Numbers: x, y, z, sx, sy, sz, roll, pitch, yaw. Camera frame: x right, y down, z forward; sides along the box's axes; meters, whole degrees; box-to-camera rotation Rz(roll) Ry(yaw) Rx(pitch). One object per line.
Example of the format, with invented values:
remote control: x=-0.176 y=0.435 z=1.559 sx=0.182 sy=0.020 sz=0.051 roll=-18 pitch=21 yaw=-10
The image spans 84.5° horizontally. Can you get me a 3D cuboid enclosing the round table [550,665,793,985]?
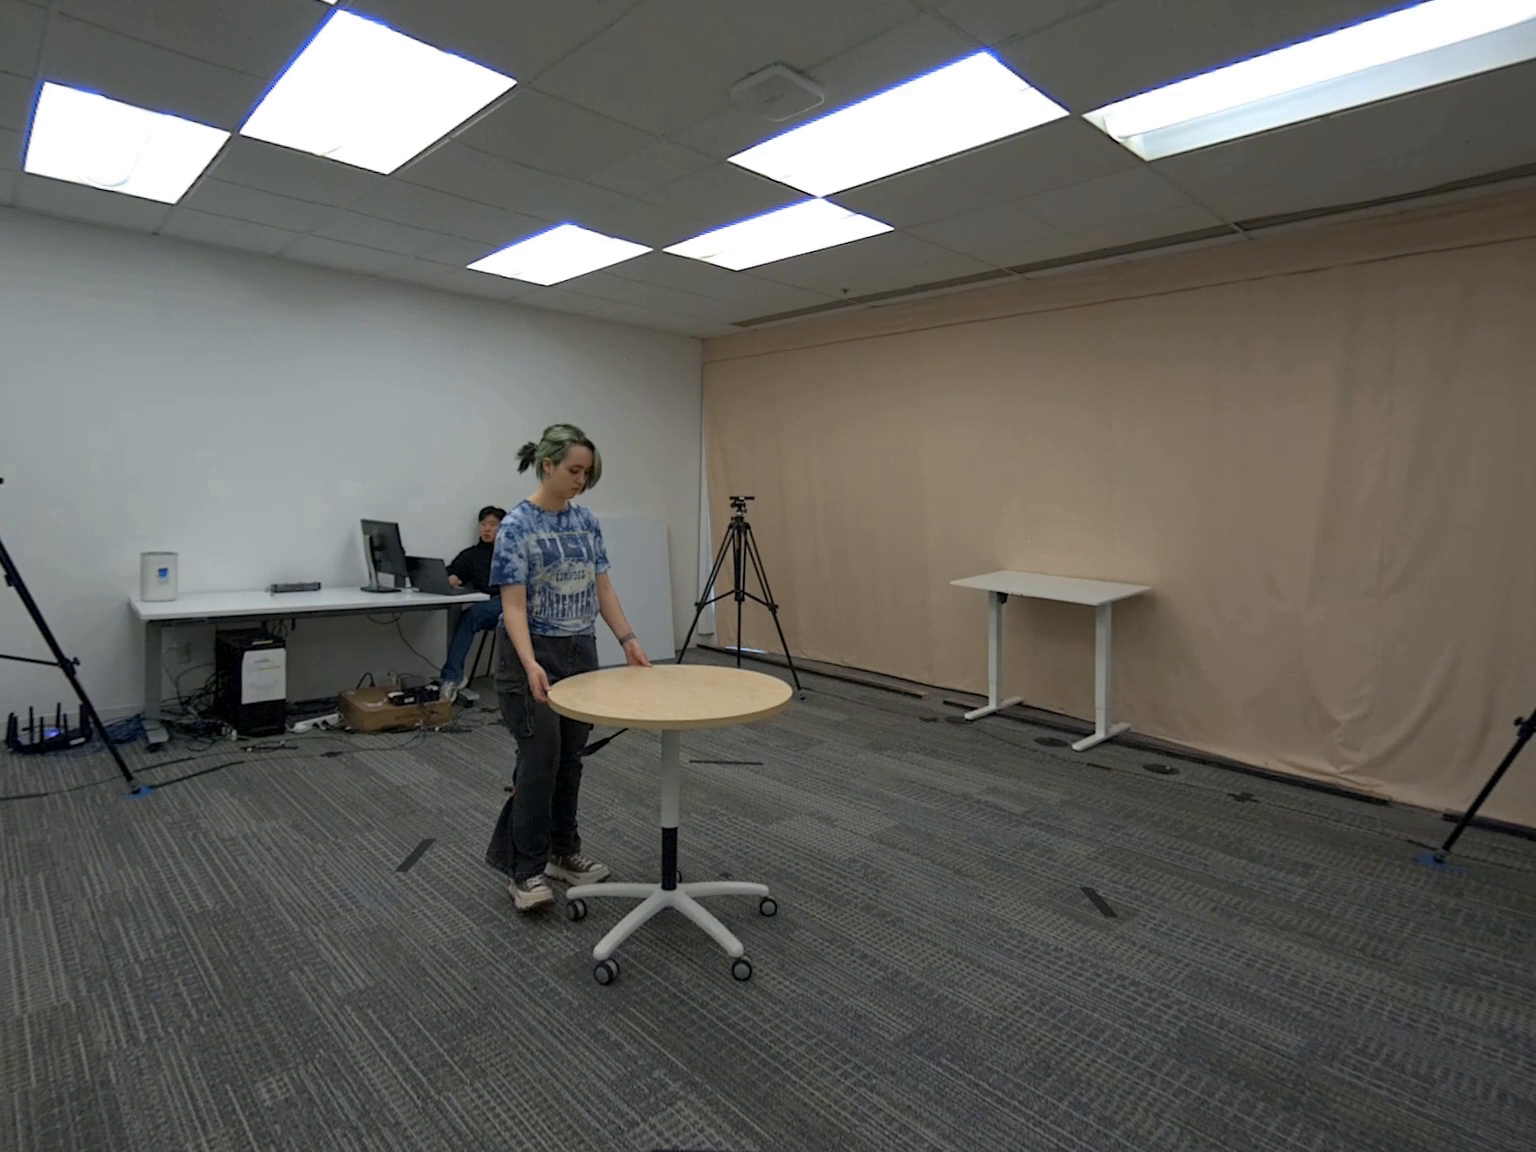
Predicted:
round table: x=-0.307 y=0.751 z=2.674 sx=0.763 sy=0.792 sz=0.766 roll=1 pitch=4 yaw=-1
